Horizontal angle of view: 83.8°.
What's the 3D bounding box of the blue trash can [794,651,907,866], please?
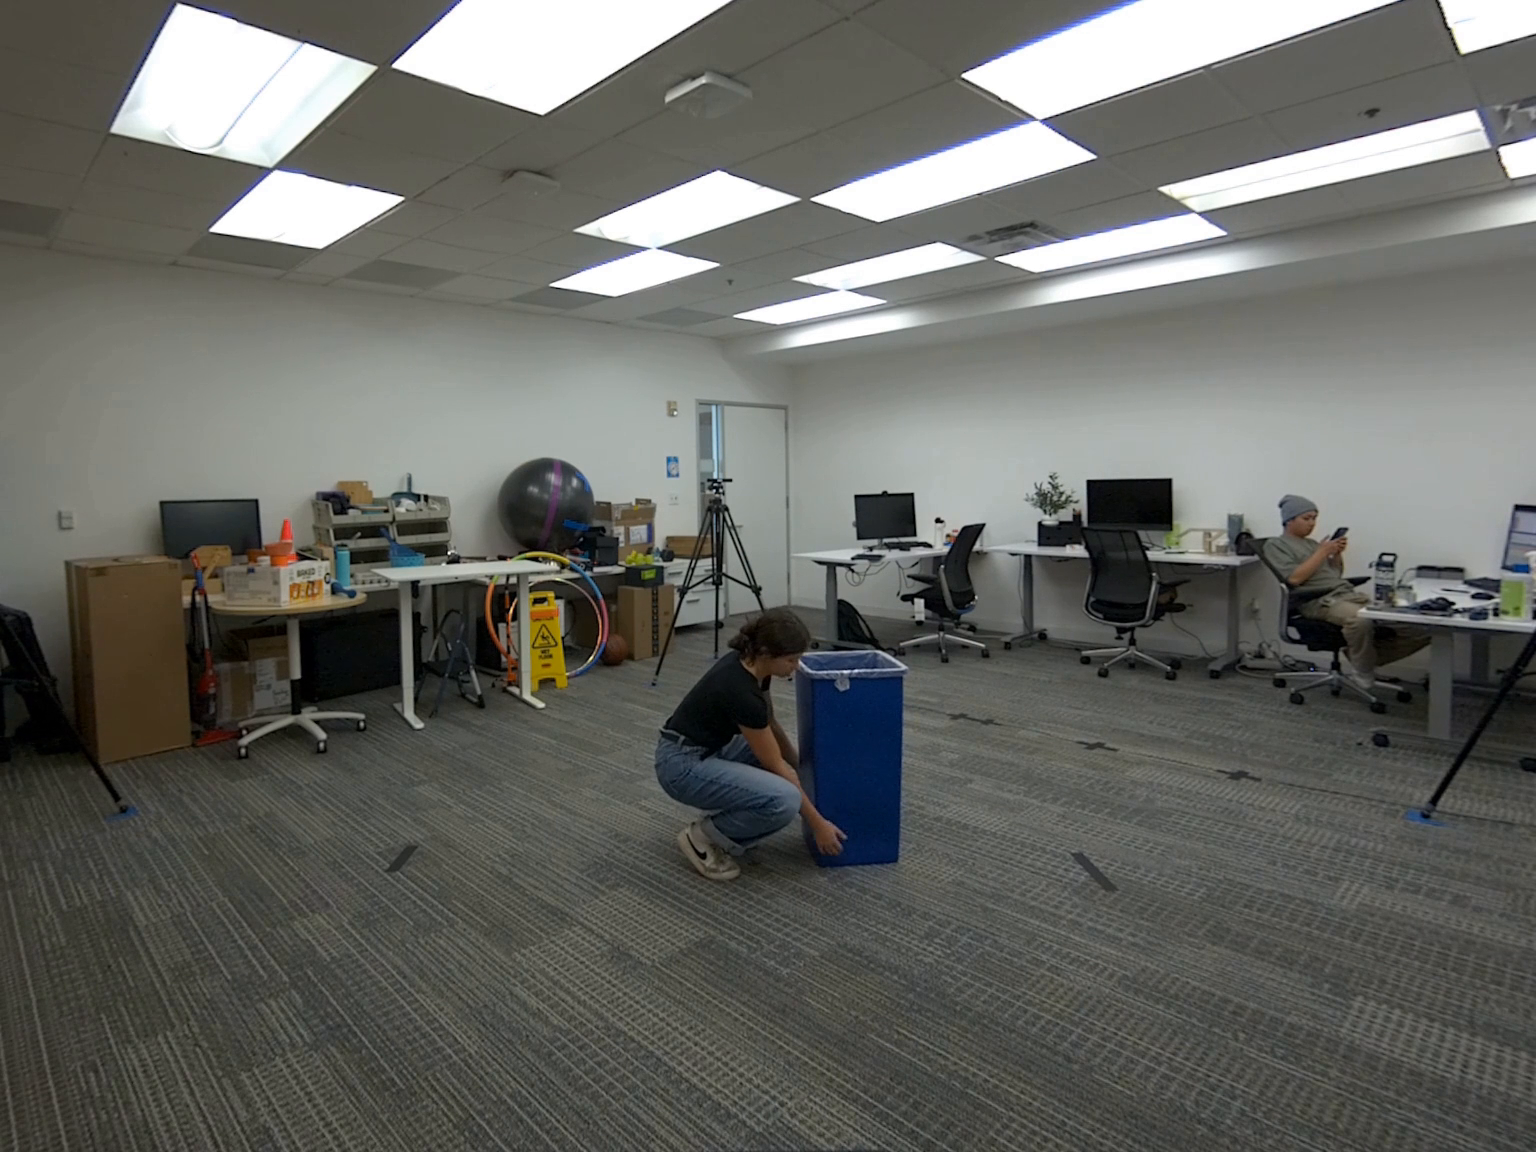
[{"bbox_3d":[0.302,0.669,3.207,0.375,0.711,0.378,-1,4,-8],"label":"blue trash can"}]
